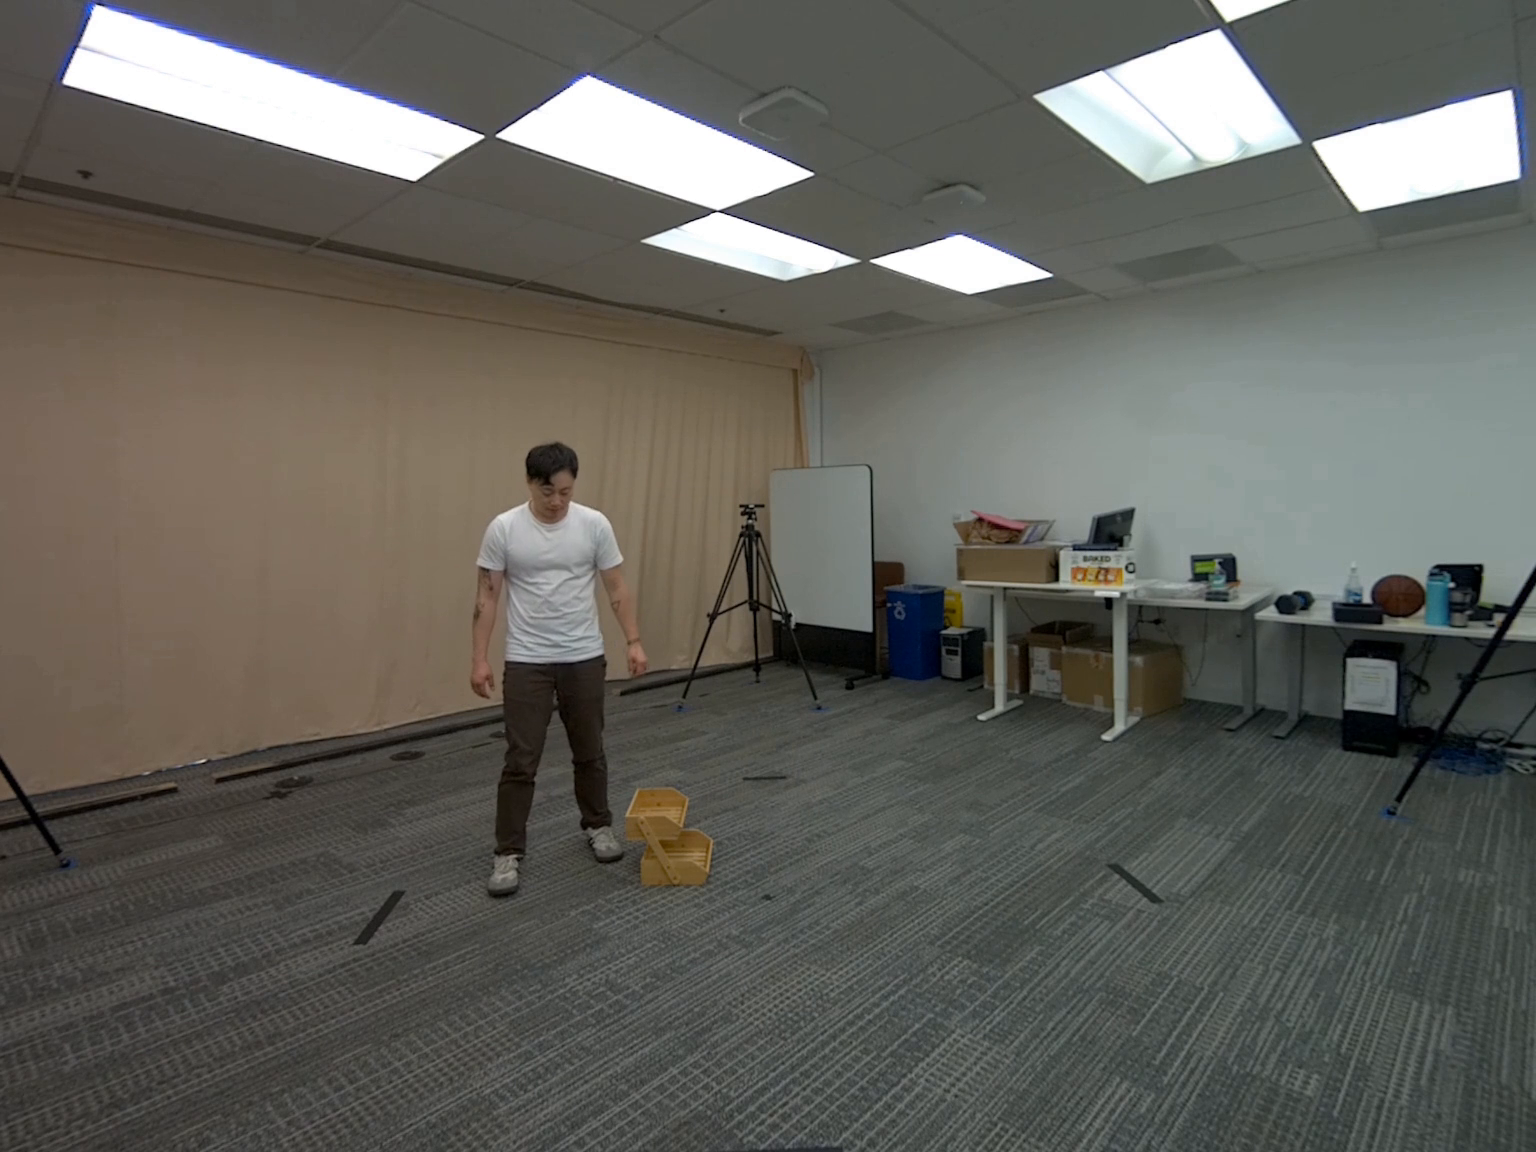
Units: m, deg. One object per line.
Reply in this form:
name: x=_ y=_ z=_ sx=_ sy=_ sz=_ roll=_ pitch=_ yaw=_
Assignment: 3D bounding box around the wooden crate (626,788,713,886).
wooden crate: x=-0.369 y=0.994 z=3.238 sx=0.302 sy=0.273 sz=0.325 roll=-2 pitch=4 yaw=0
